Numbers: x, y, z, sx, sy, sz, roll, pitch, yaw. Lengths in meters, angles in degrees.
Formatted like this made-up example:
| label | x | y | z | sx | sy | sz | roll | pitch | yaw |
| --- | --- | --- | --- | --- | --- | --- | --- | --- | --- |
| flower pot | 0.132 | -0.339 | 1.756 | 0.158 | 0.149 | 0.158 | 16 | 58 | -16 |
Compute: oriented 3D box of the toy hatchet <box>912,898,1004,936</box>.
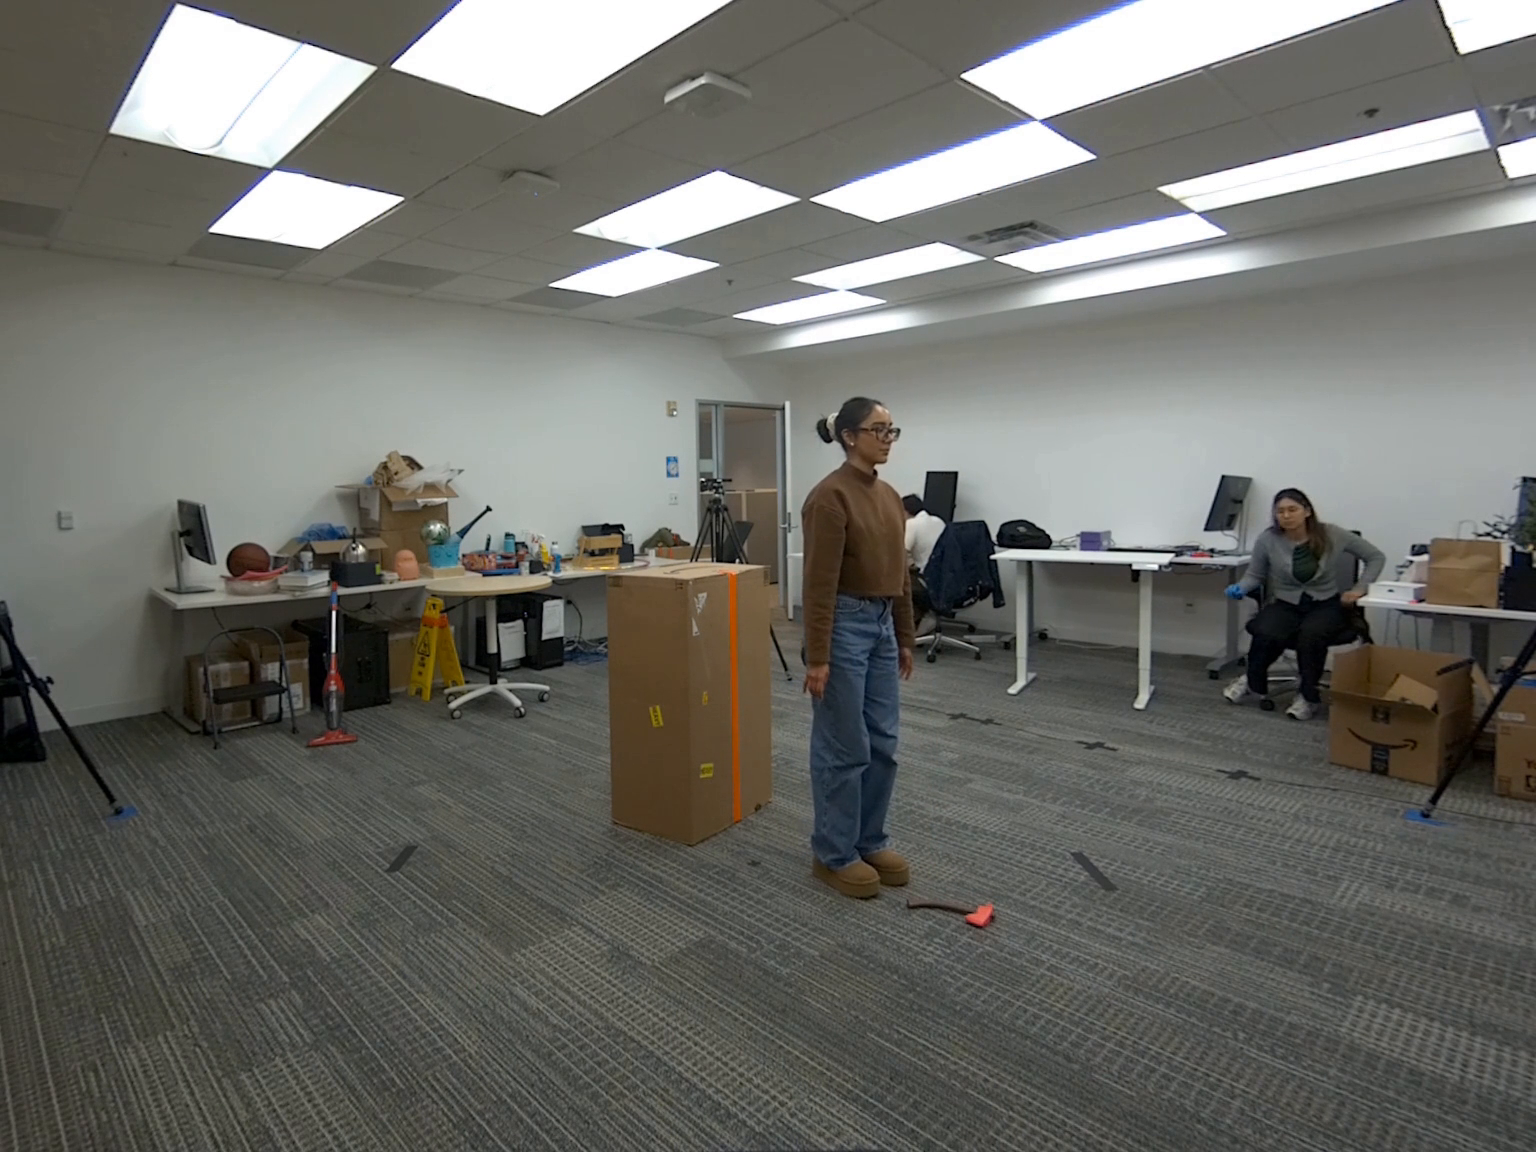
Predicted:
| label | x | y | z | sx | sy | sz | roll | pitch | yaw |
| --- | --- | --- | --- | --- | --- | --- | --- | --- | --- |
| toy hatchet | 0.594 | 1.073 | 2.702 | 0.273 | 0.029 | 0.130 | -2 | 10 | 12 |
